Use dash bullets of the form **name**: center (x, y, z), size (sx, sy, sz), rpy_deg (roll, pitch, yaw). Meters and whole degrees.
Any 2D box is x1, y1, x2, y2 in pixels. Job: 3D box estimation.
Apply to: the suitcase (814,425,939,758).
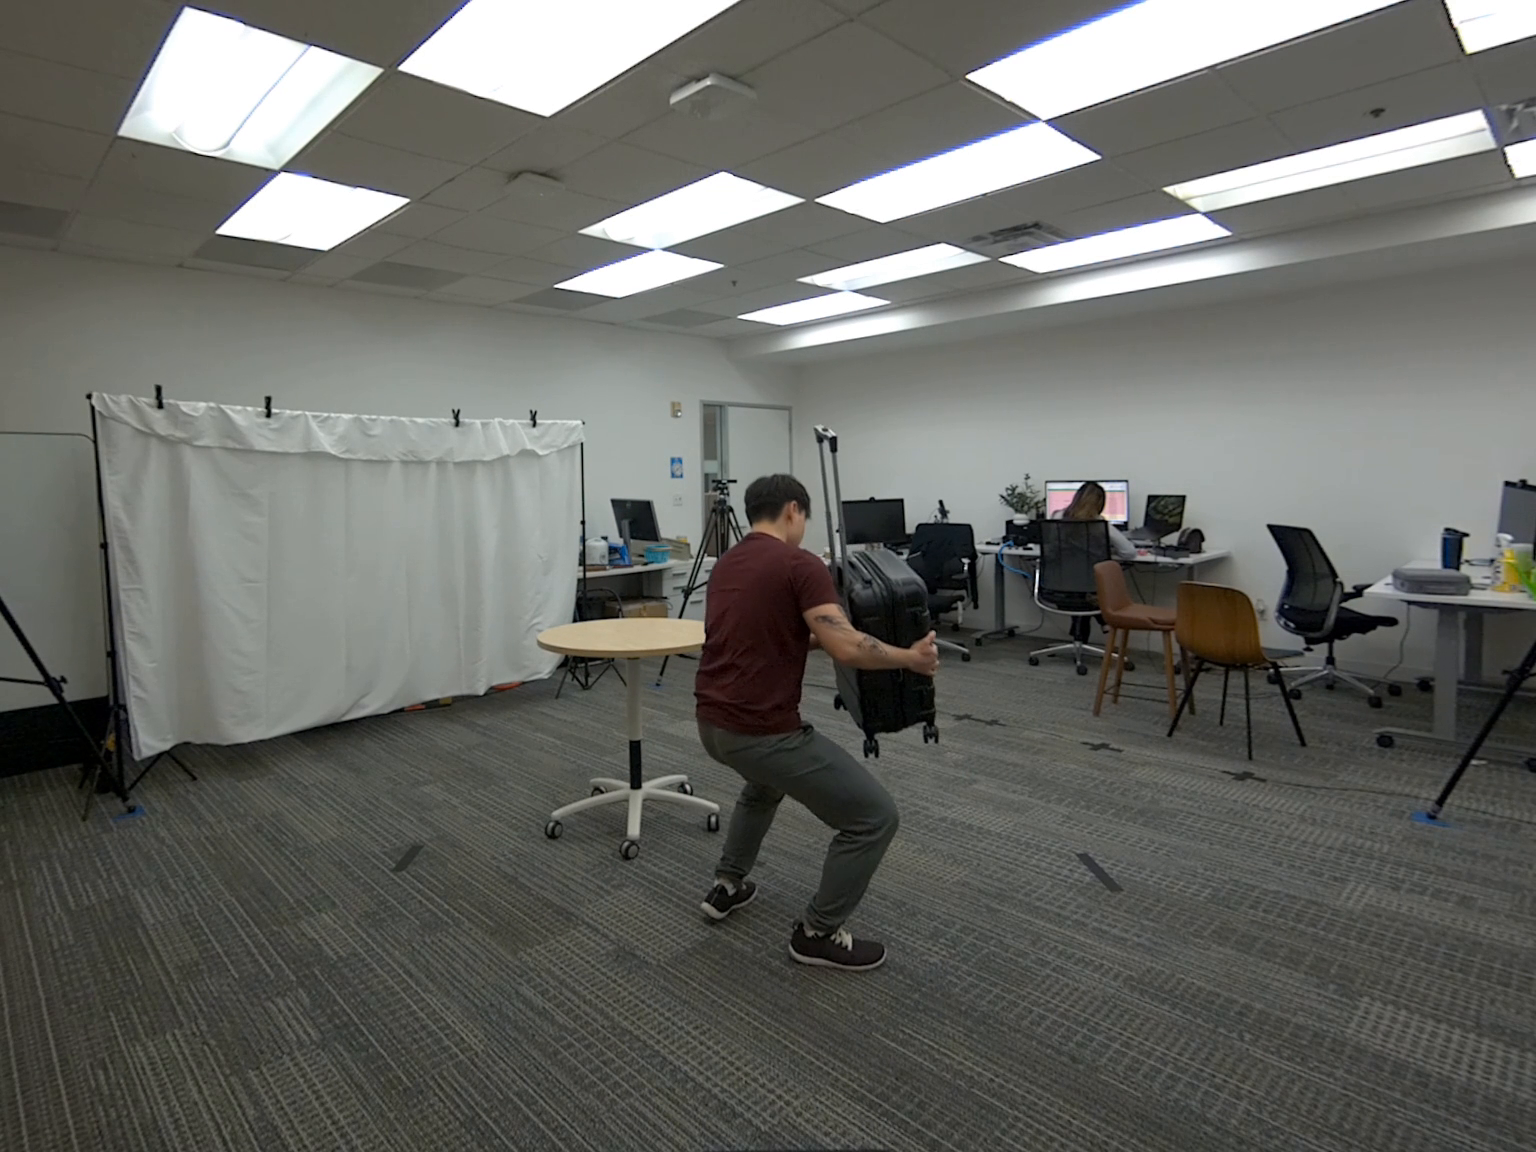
- **suitcase**: center (0.322, 0.019, 2.609), size (0.255, 0.961, 0.393), rpy_deg (-9, 19, -8)
